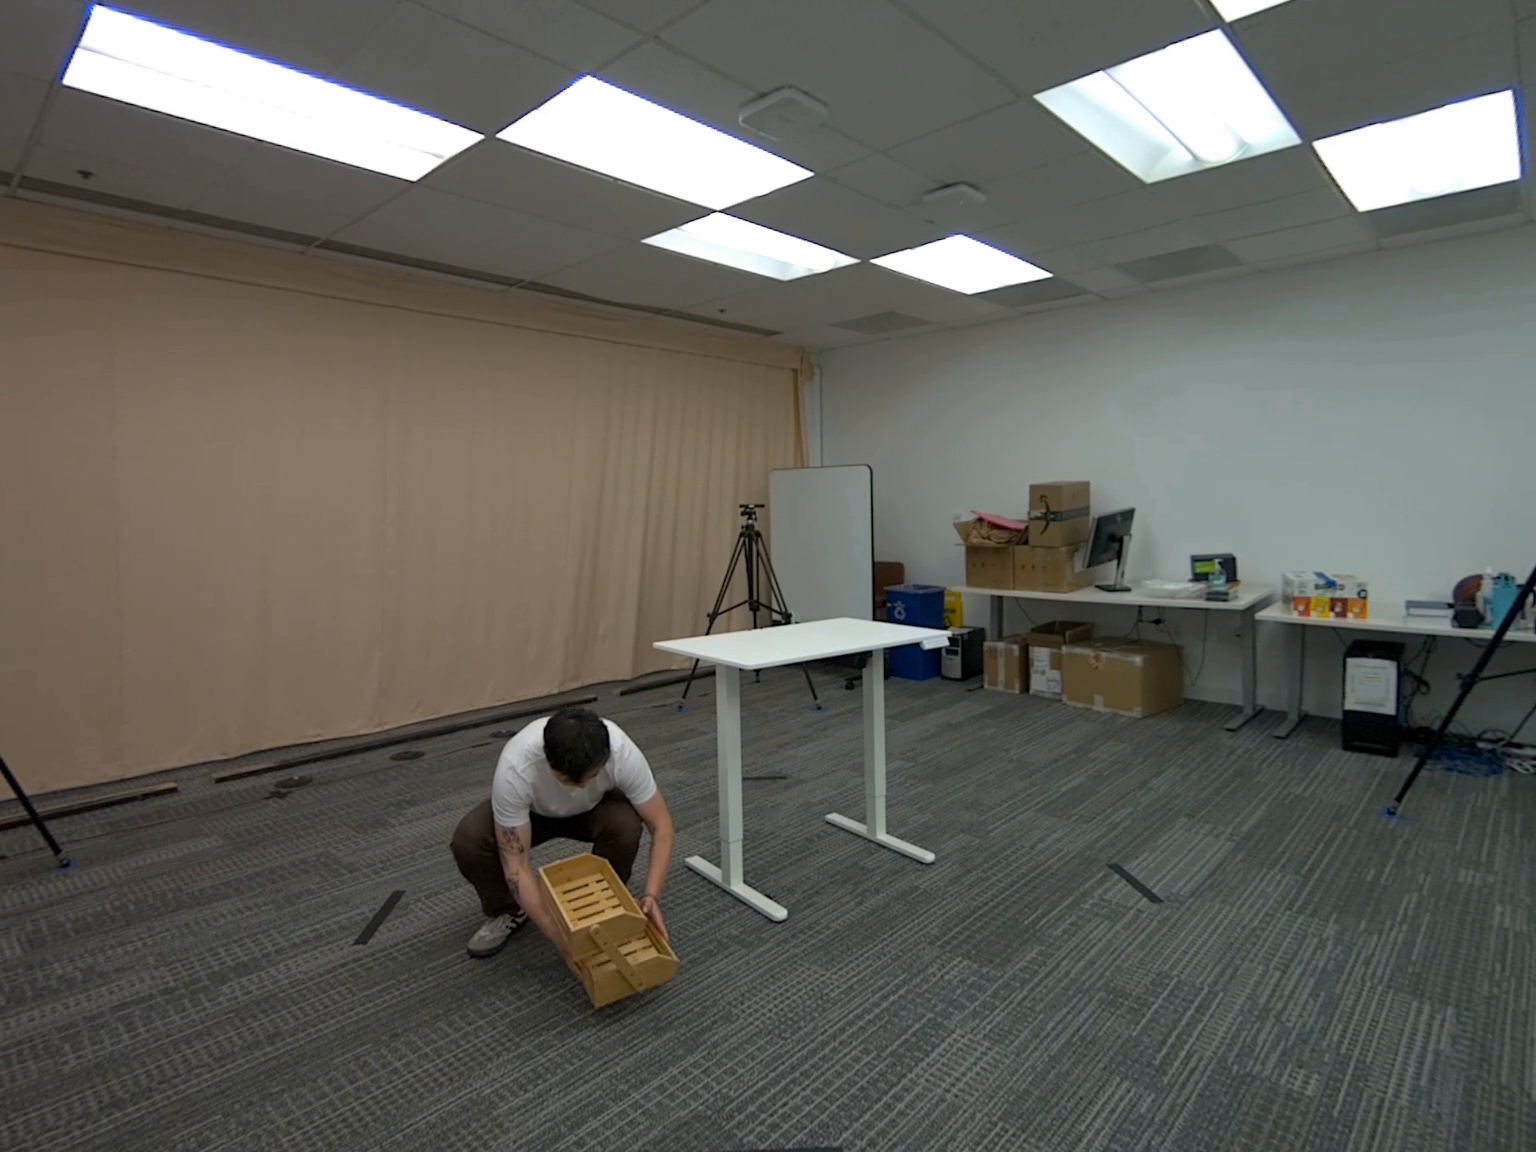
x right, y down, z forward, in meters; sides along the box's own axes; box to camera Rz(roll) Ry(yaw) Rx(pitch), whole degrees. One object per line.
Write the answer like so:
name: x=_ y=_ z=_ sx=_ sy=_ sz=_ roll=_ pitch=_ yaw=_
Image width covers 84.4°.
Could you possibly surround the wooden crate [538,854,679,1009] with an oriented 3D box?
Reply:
wooden crate: x=-0.441 y=0.959 z=2.374 sx=0.295 sy=0.271 sz=0.335 roll=-9 pitch=18 yaw=-29
